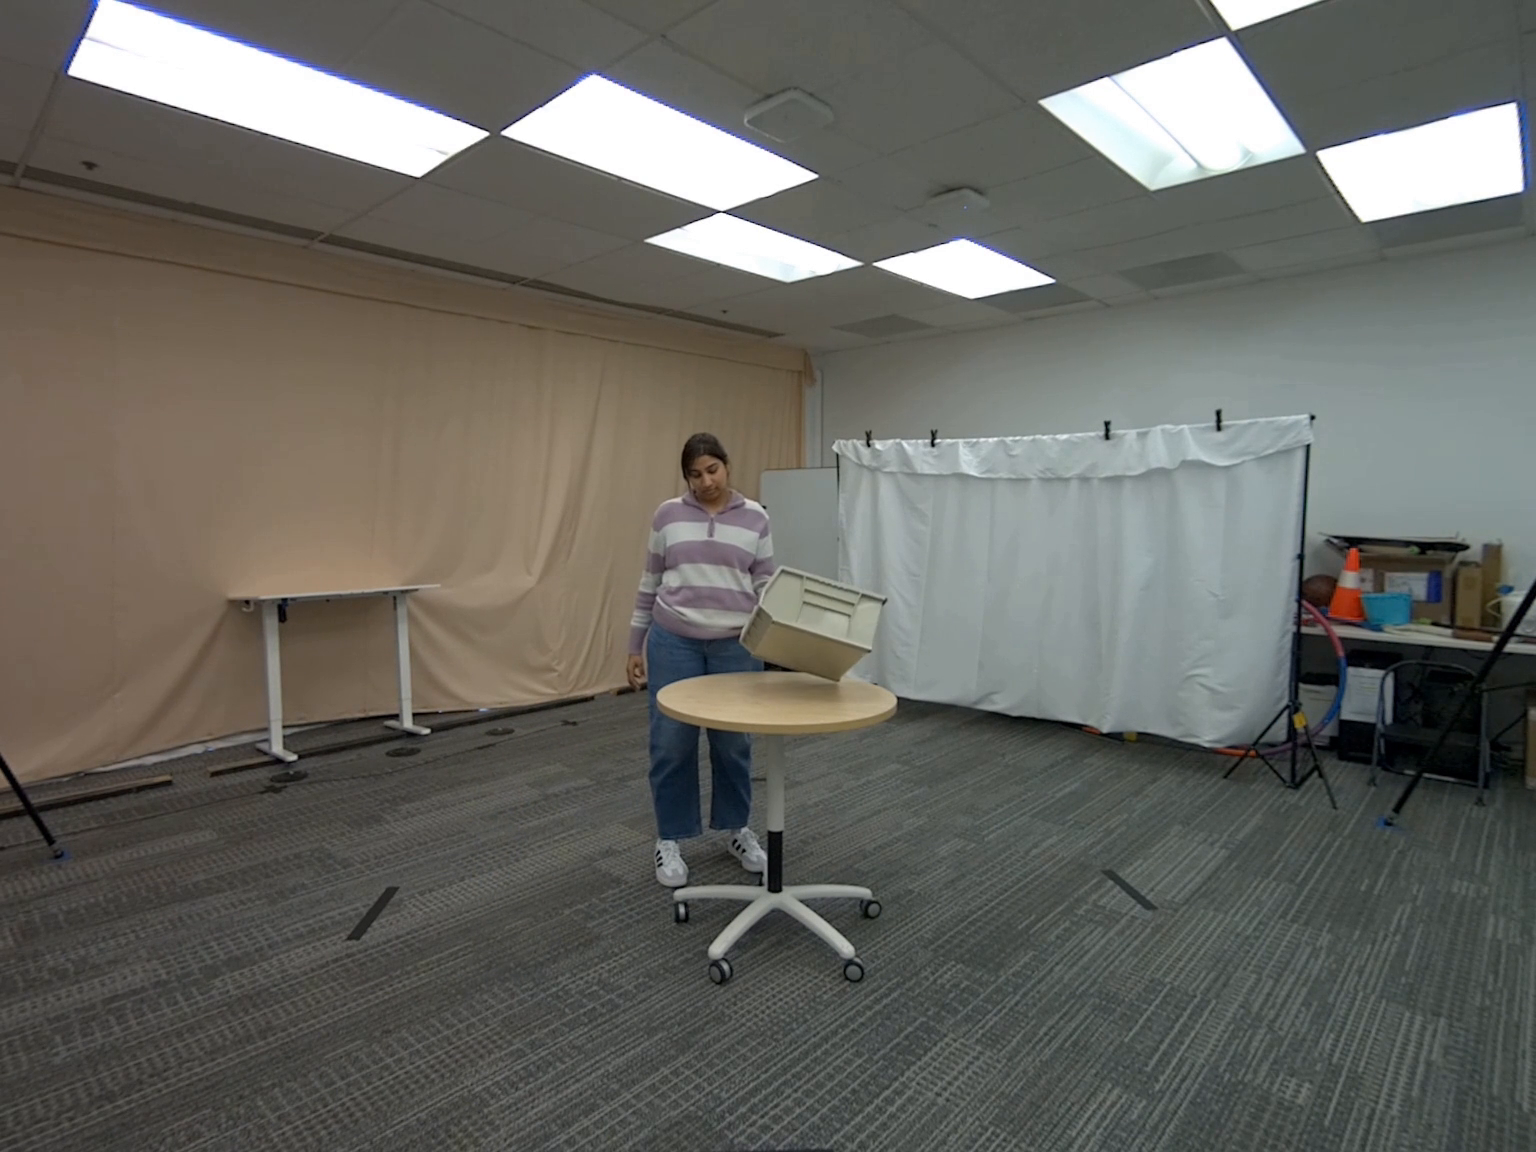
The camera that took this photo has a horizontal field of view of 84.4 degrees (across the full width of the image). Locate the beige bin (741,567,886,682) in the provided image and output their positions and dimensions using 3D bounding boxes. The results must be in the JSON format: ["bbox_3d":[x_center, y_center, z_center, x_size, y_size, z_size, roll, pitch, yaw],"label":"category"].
[{"bbox_3d":[0.128,0.167,2.718,0.377,0.190,0.420,18,-24,-2],"label":"beige bin"}]
